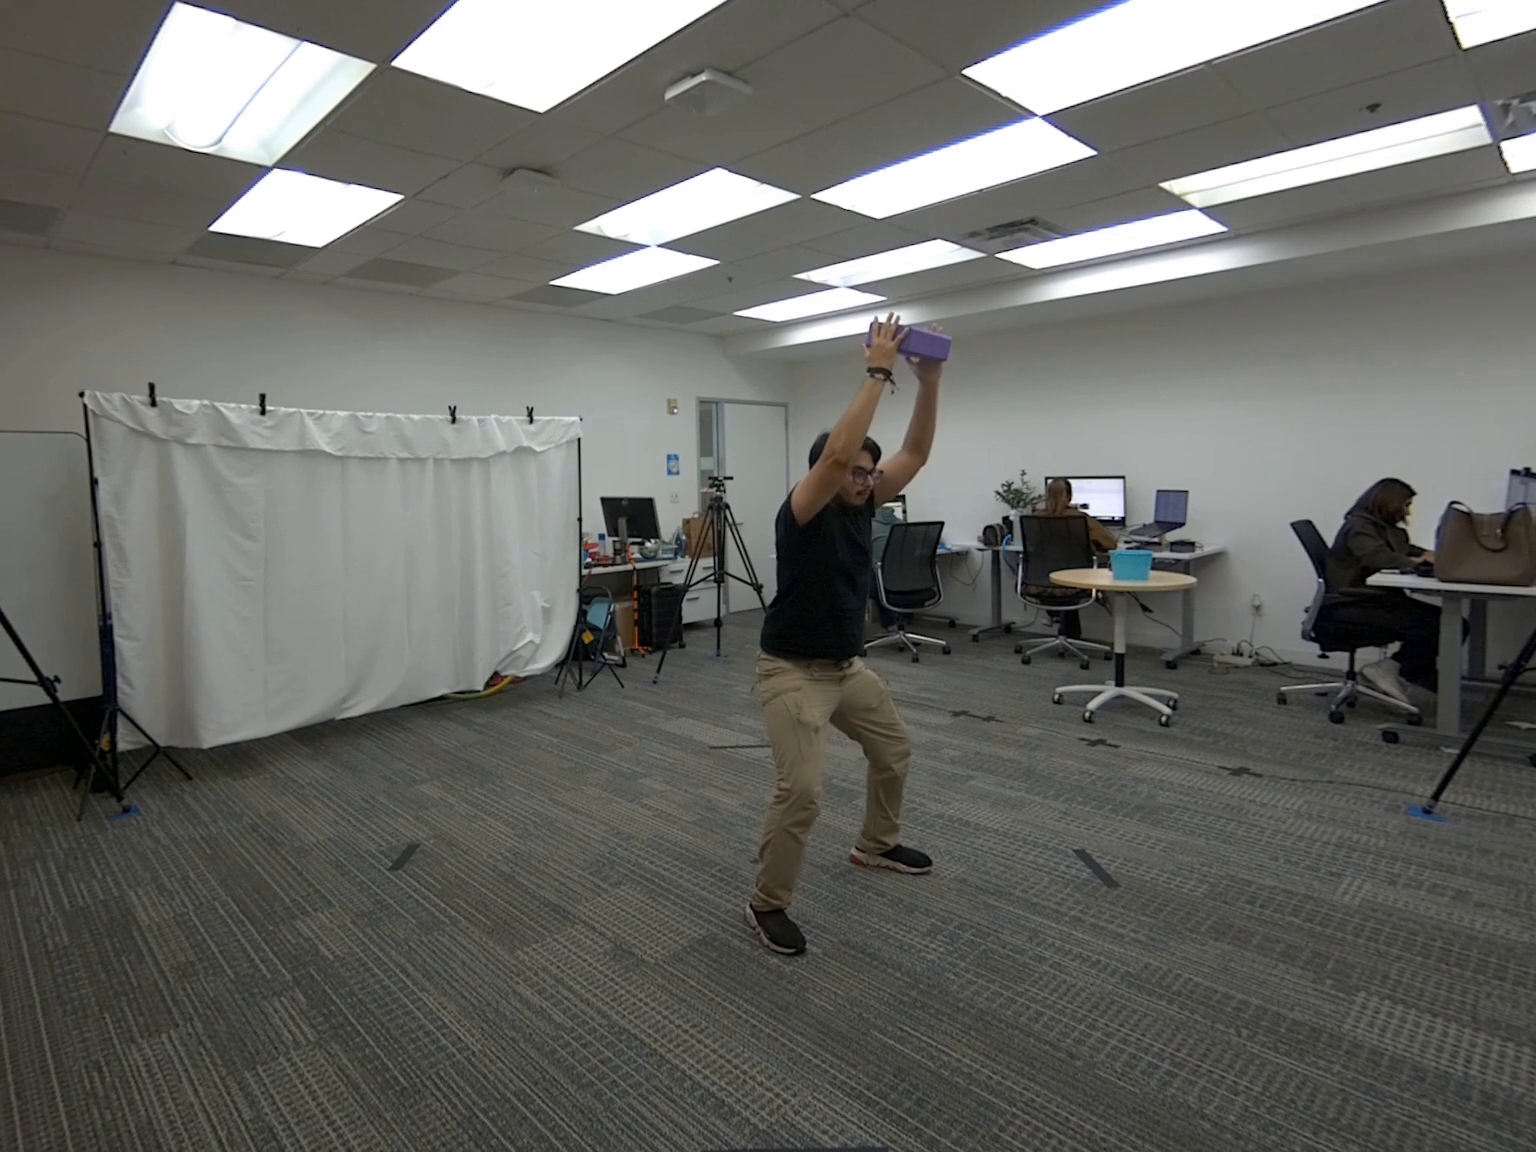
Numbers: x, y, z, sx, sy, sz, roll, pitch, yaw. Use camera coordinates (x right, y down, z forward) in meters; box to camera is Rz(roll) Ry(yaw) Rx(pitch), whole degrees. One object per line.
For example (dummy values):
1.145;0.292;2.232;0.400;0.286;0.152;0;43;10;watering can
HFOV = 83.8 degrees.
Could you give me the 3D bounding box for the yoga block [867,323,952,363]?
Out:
0.415;-0.685;2.494;0.154;0.076;0.223;25;19;40;yoga block
